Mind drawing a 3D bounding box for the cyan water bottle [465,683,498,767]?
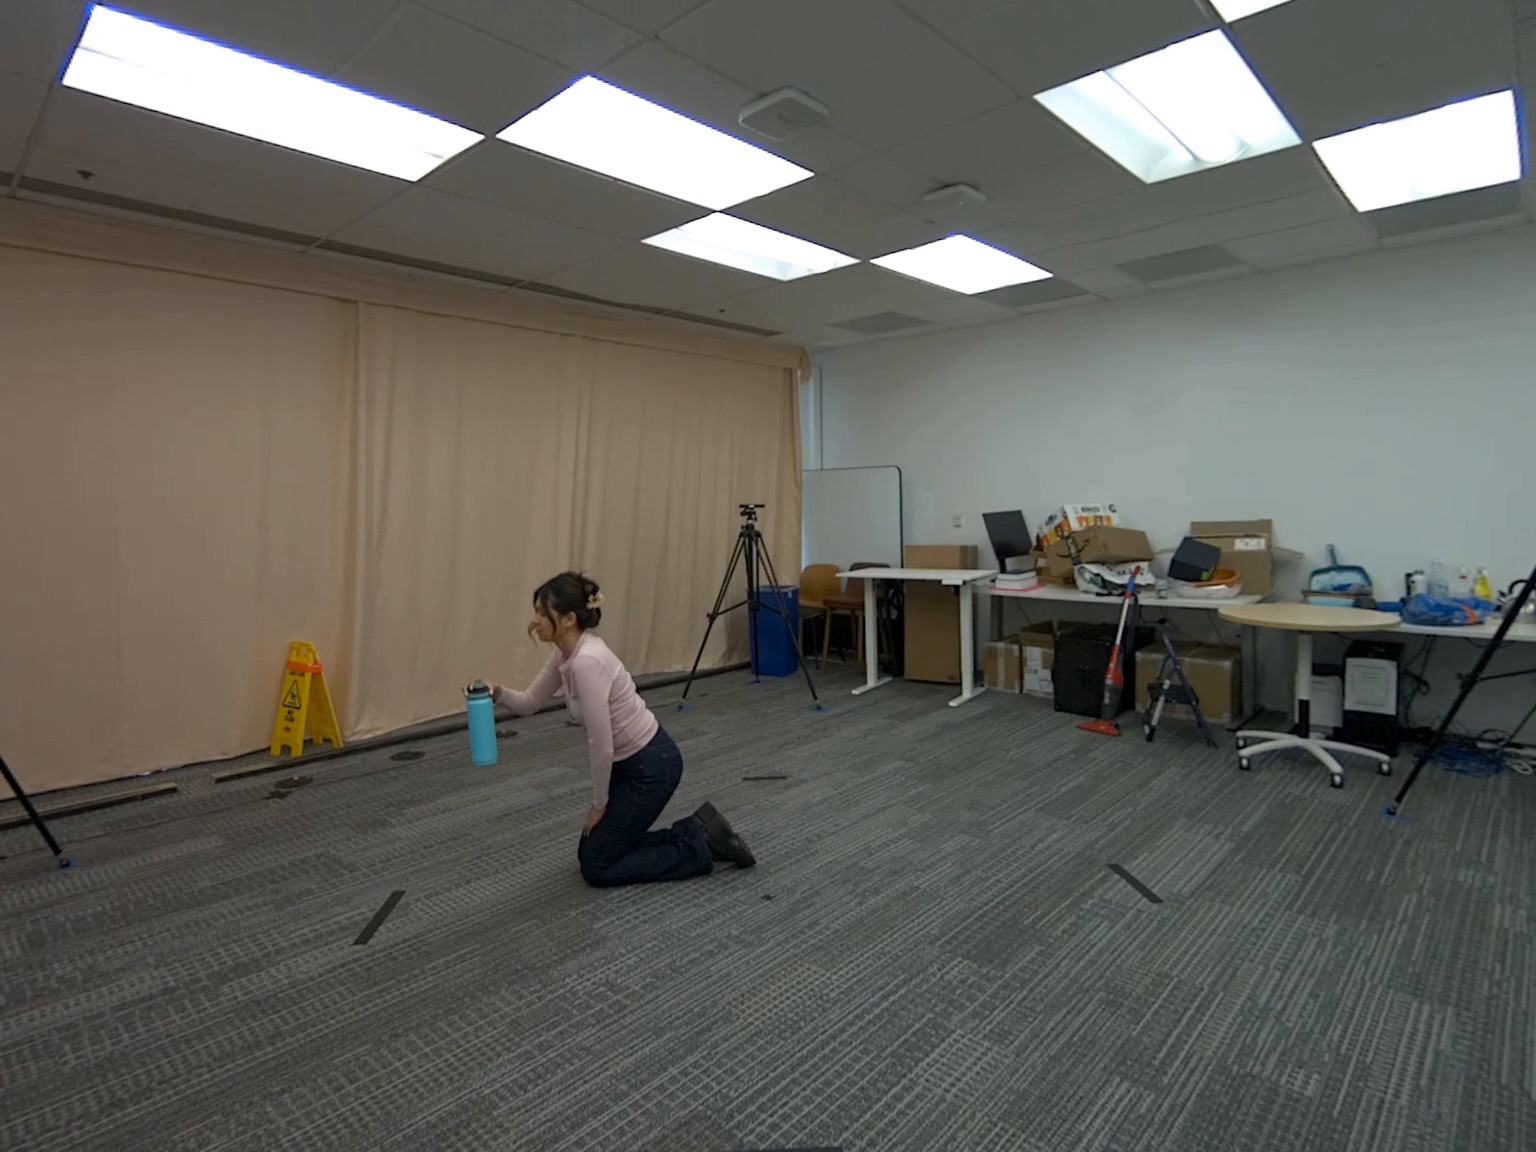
[{"bbox_3d":[-1.001,0.516,2.980,0.092,0.283,0.092,-4,1,-2],"label":"cyan water bottle"}]
